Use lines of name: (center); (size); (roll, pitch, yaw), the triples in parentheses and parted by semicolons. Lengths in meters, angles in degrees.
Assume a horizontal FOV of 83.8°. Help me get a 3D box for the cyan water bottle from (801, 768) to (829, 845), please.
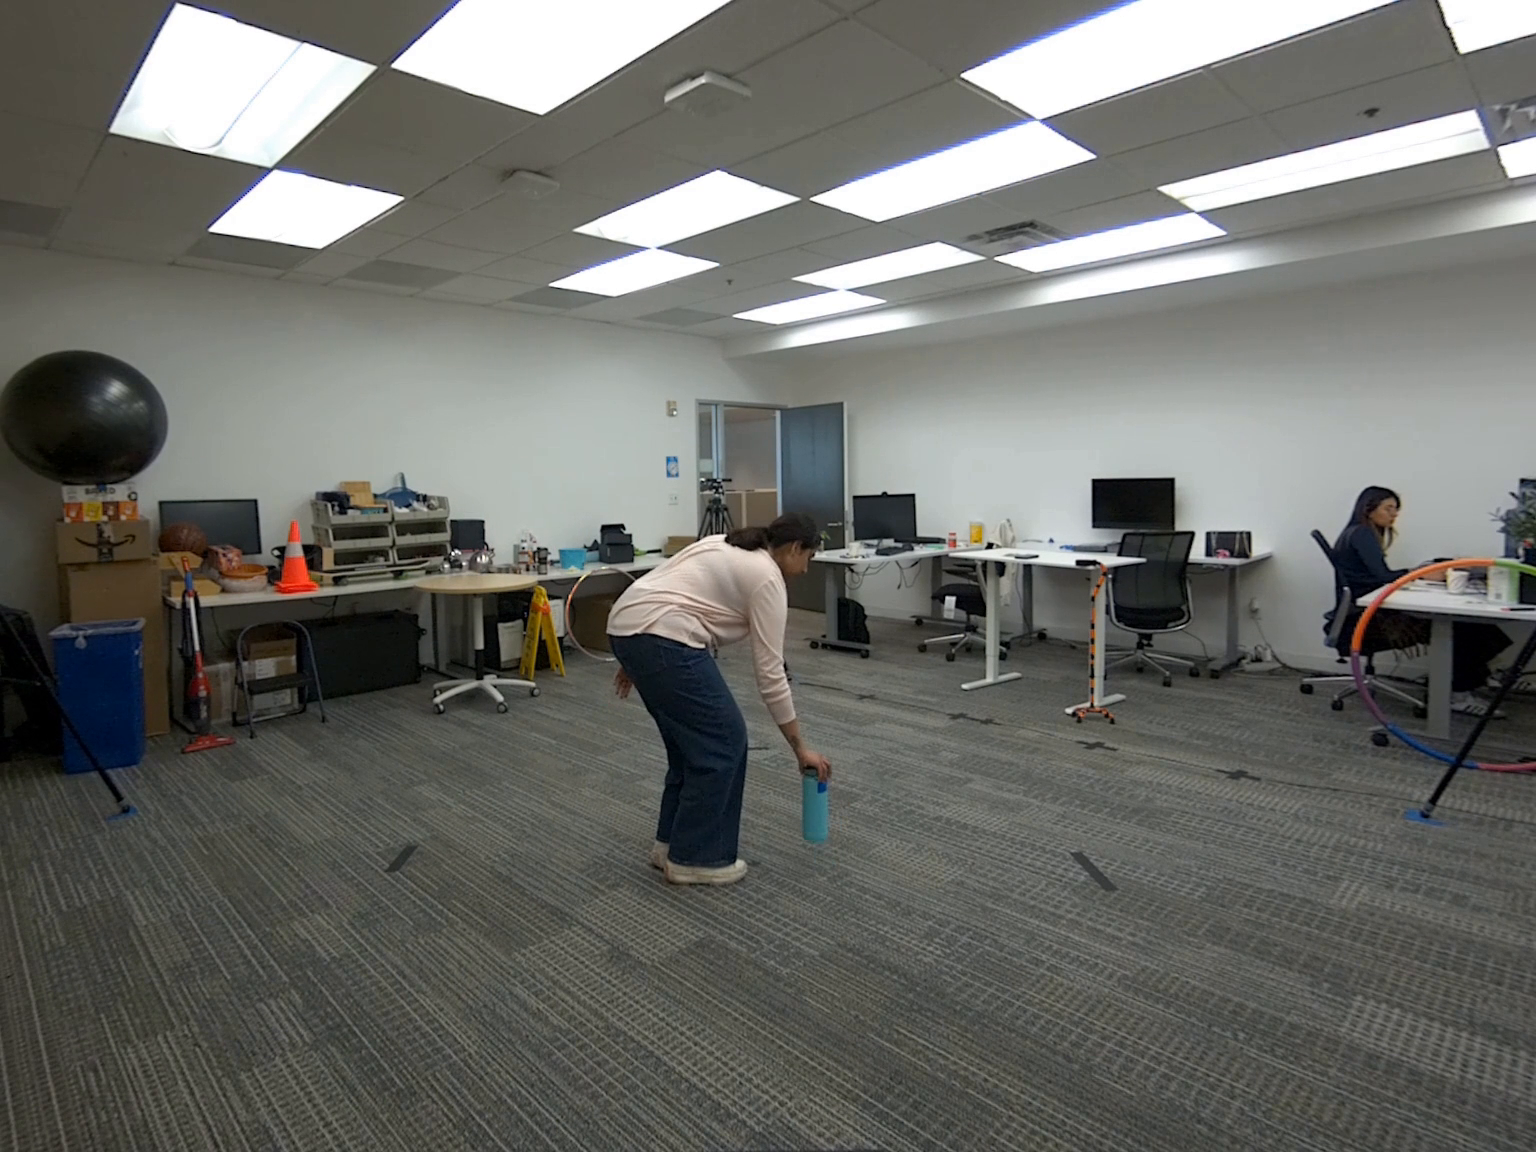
cyan water bottle: (0.167, 0.780, 3.019); (0.092, 0.282, 0.093); (2, 3, -2)
